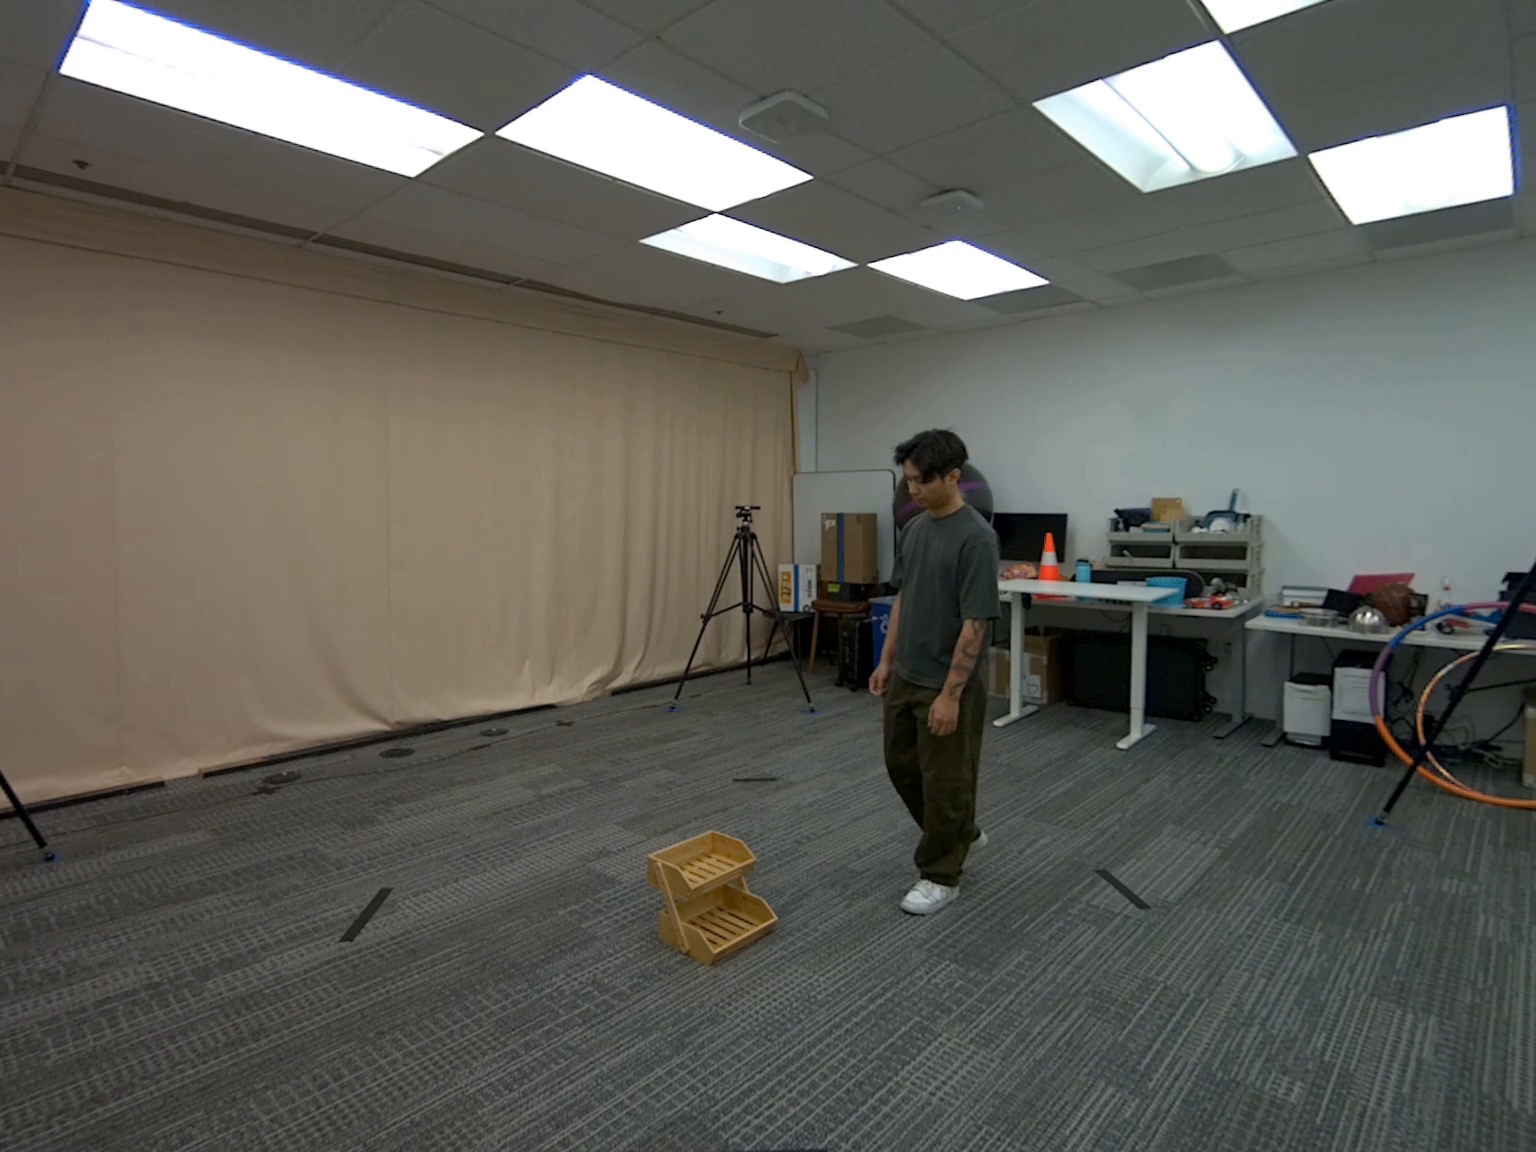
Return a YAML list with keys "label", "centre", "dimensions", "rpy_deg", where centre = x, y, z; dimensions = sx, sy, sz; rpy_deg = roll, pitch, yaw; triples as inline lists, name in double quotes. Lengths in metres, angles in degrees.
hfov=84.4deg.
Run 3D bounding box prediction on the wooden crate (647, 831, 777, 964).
- label: "wooden crate"
  centre: [-0.171, 1.031, 2.735]
  dimensions: [0.312, 0.273, 0.314]
  rpy_deg: [3, 5, 42]
